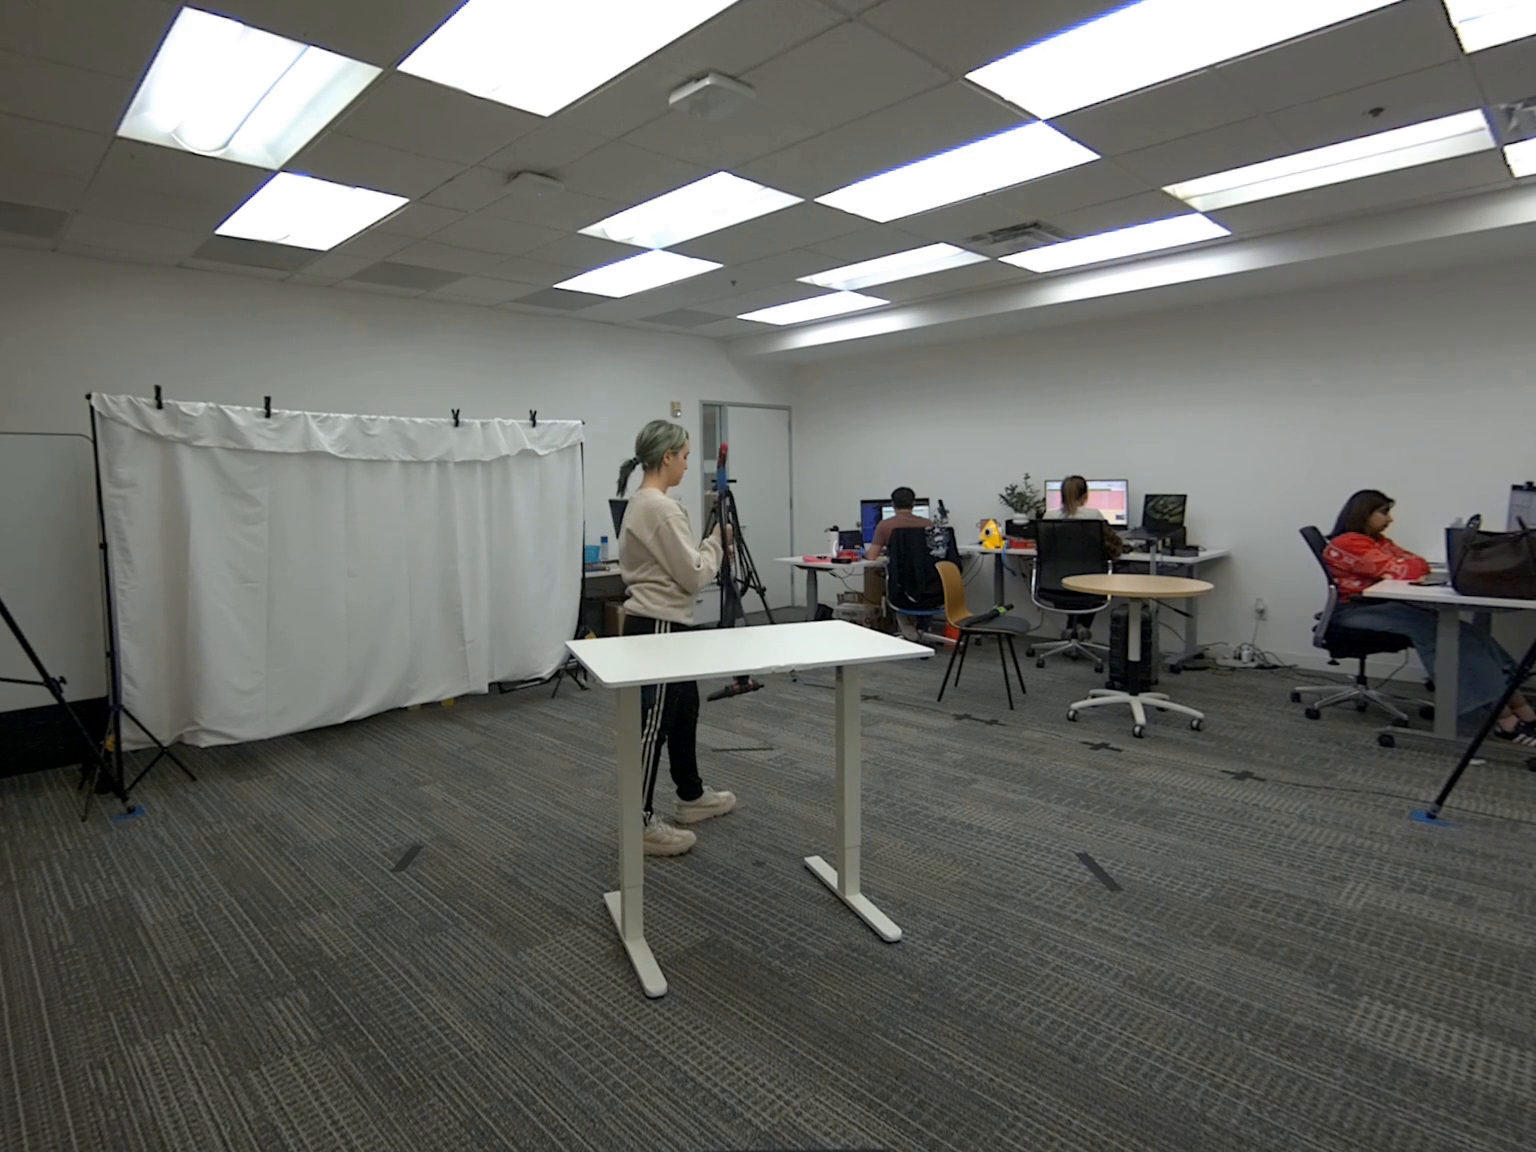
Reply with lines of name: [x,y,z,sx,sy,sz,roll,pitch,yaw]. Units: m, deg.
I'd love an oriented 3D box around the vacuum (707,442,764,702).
vacuum: [-0.142,-0.004,3.379,0.248,1.032,0.149,-11,20,-26]
